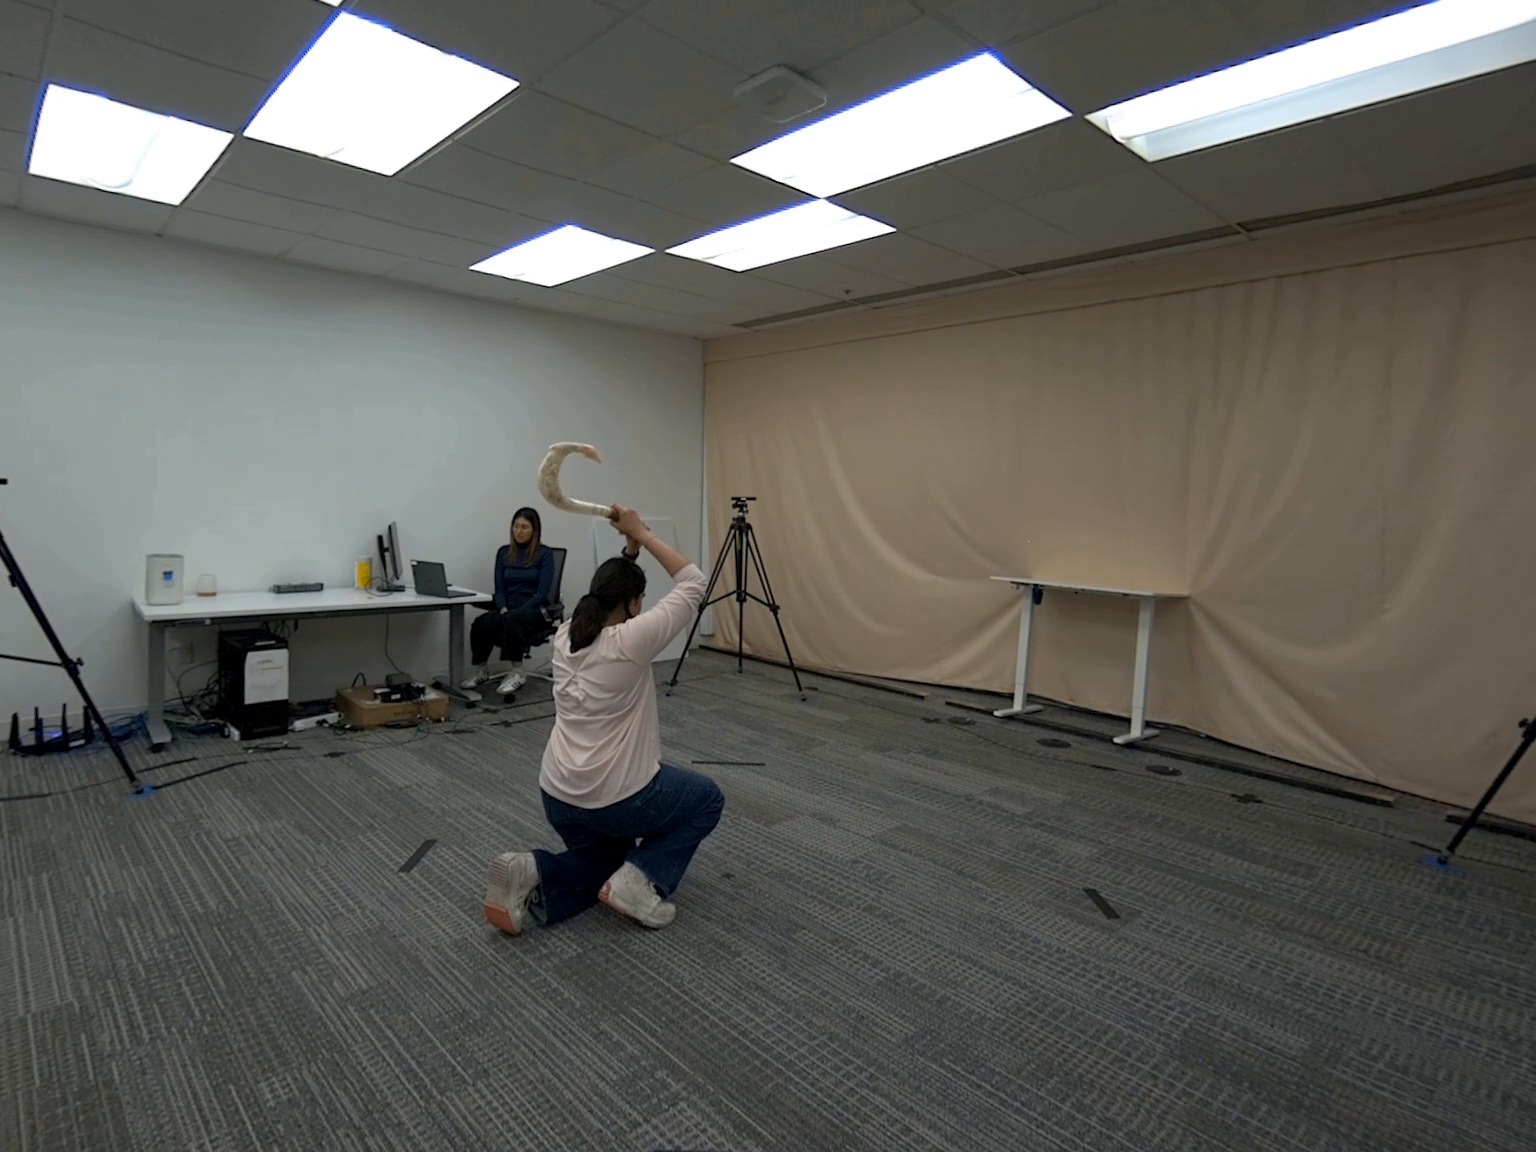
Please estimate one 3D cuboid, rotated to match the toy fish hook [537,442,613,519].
[{"bbox_3d":[-0.544,-0.277,2.774,0.050,0.225,0.491,23,-6,43],"label":"toy fish hook"}]
